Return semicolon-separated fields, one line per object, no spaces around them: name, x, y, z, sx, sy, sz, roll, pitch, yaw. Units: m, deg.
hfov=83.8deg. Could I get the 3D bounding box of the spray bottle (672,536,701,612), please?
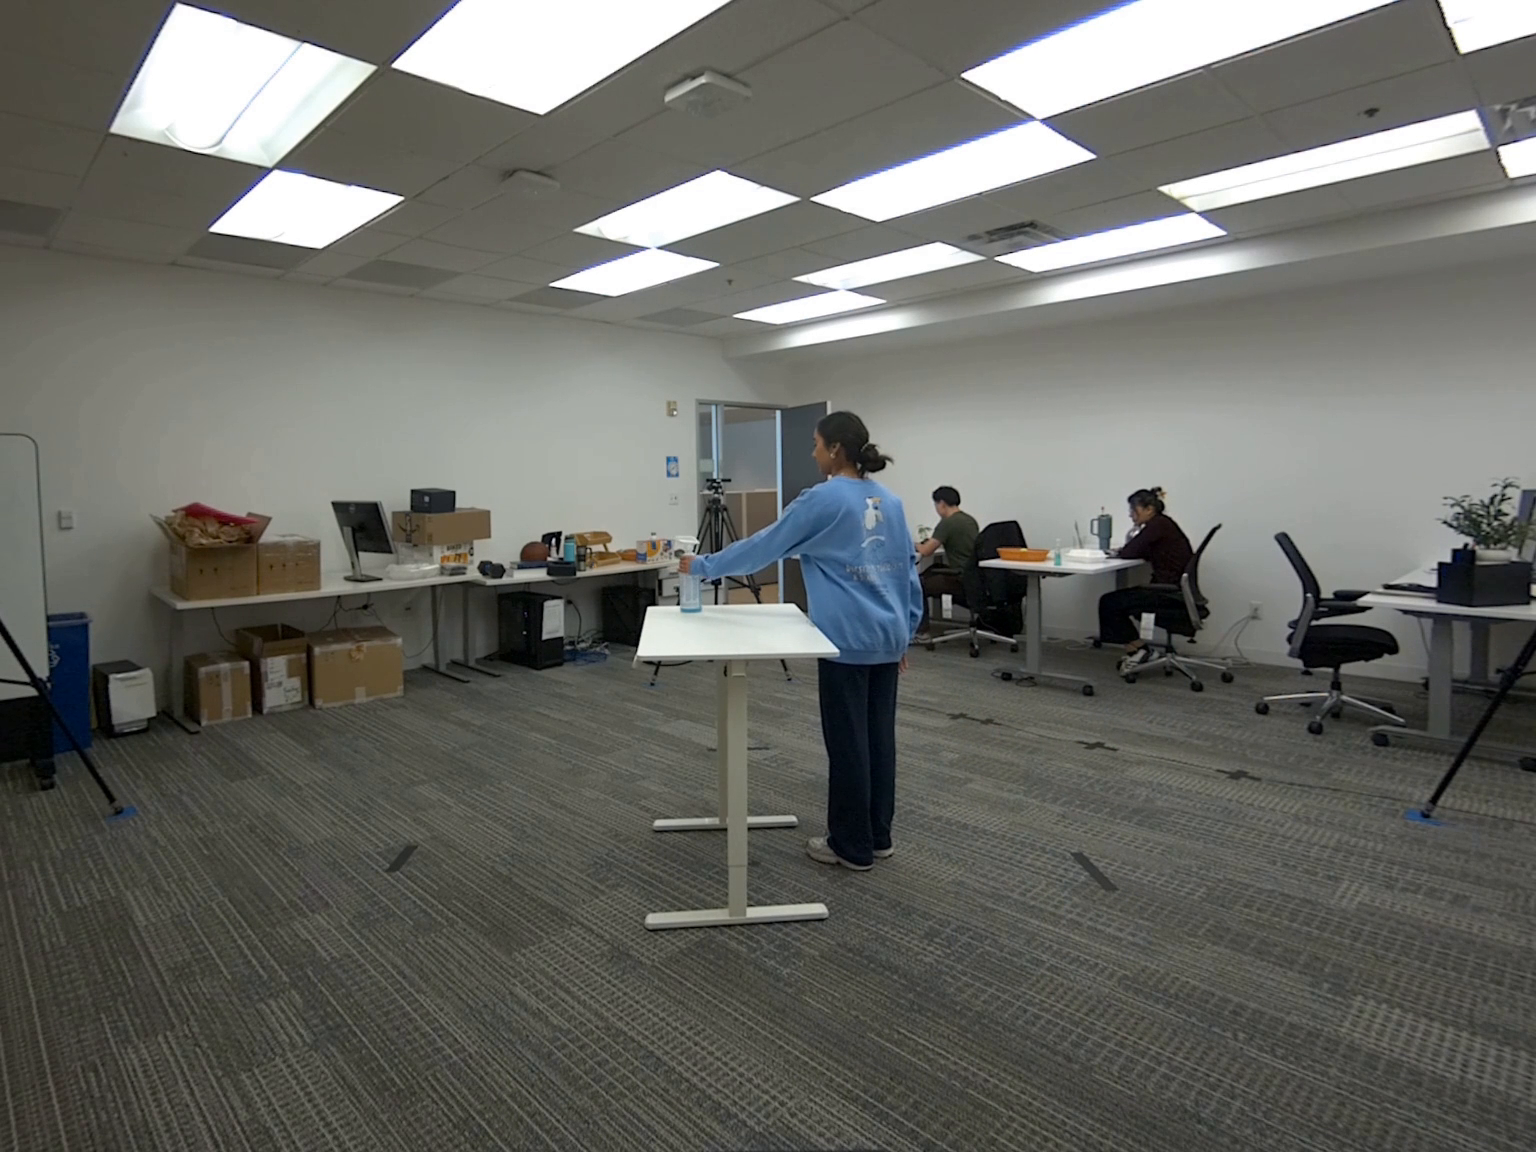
spray bottle;-0.296;-0.009;3.357;0.092;0.297;0.085;0;1;24
